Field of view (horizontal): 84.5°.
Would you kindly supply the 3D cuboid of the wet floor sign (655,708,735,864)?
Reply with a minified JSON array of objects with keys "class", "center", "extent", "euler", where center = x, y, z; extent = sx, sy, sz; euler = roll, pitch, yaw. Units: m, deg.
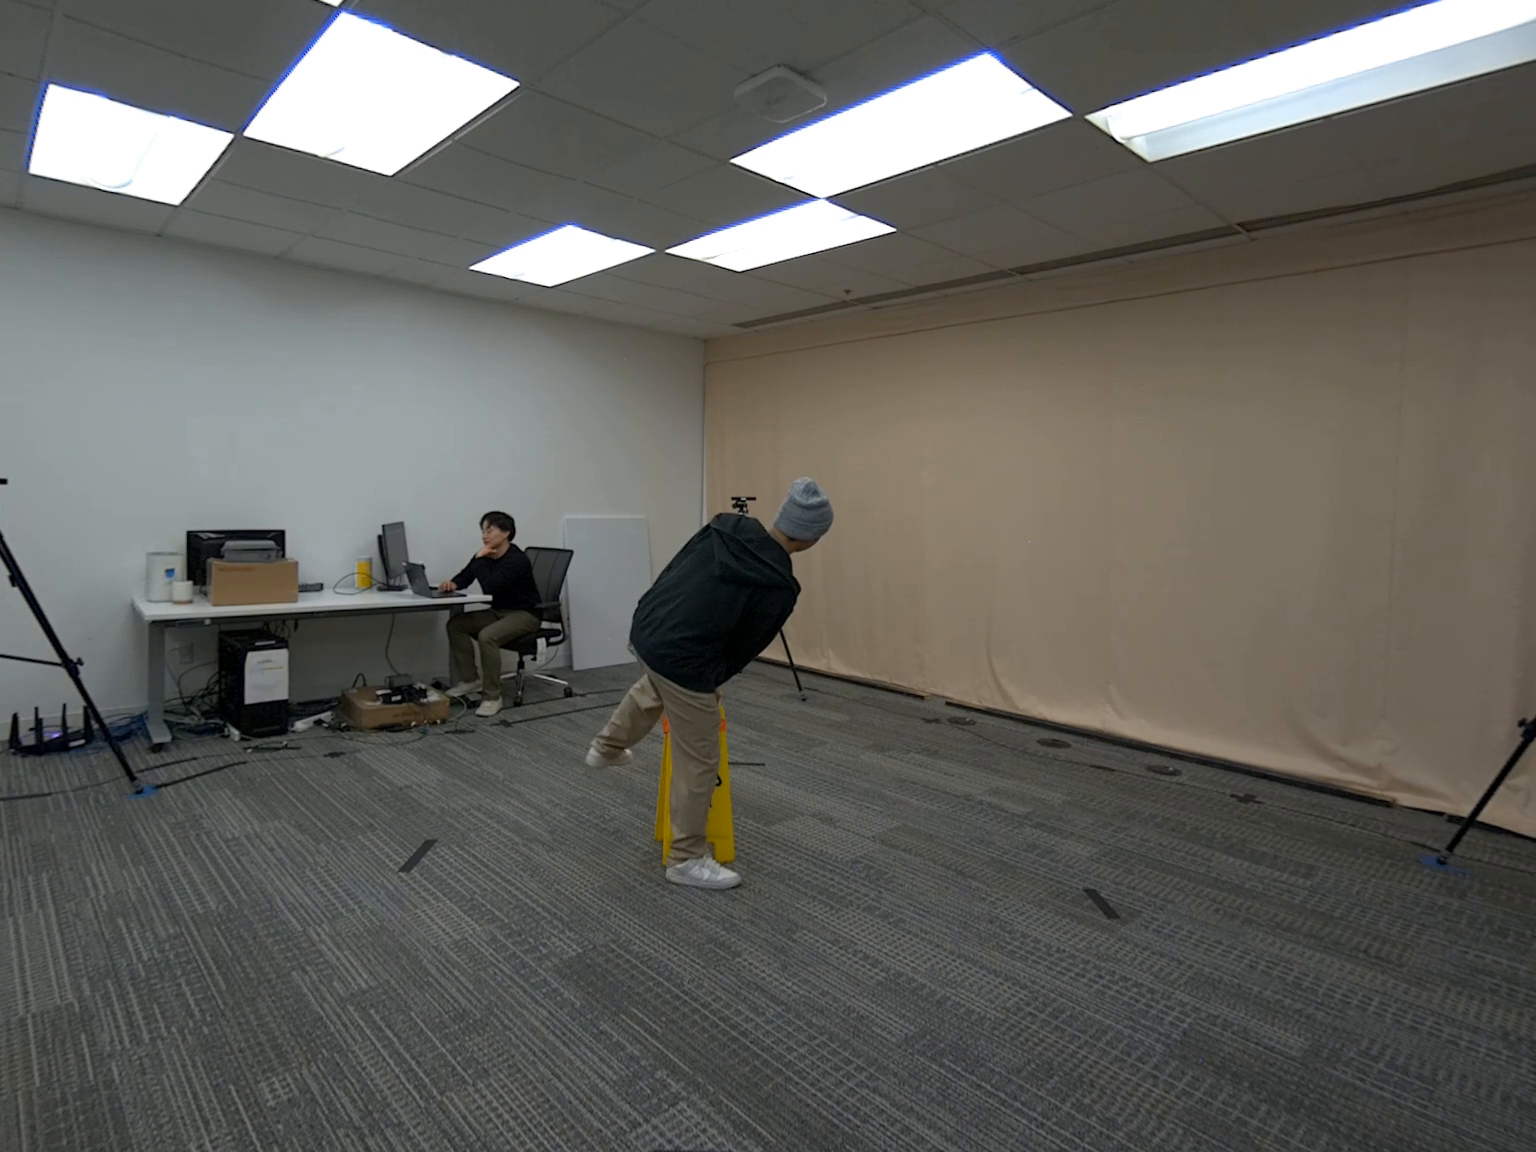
[{"class":"wet floor sign","center":[-0.292,0.763,3.318],"extent":[0.279,0.645,0.293],"euler":[2,1,-13]}]
